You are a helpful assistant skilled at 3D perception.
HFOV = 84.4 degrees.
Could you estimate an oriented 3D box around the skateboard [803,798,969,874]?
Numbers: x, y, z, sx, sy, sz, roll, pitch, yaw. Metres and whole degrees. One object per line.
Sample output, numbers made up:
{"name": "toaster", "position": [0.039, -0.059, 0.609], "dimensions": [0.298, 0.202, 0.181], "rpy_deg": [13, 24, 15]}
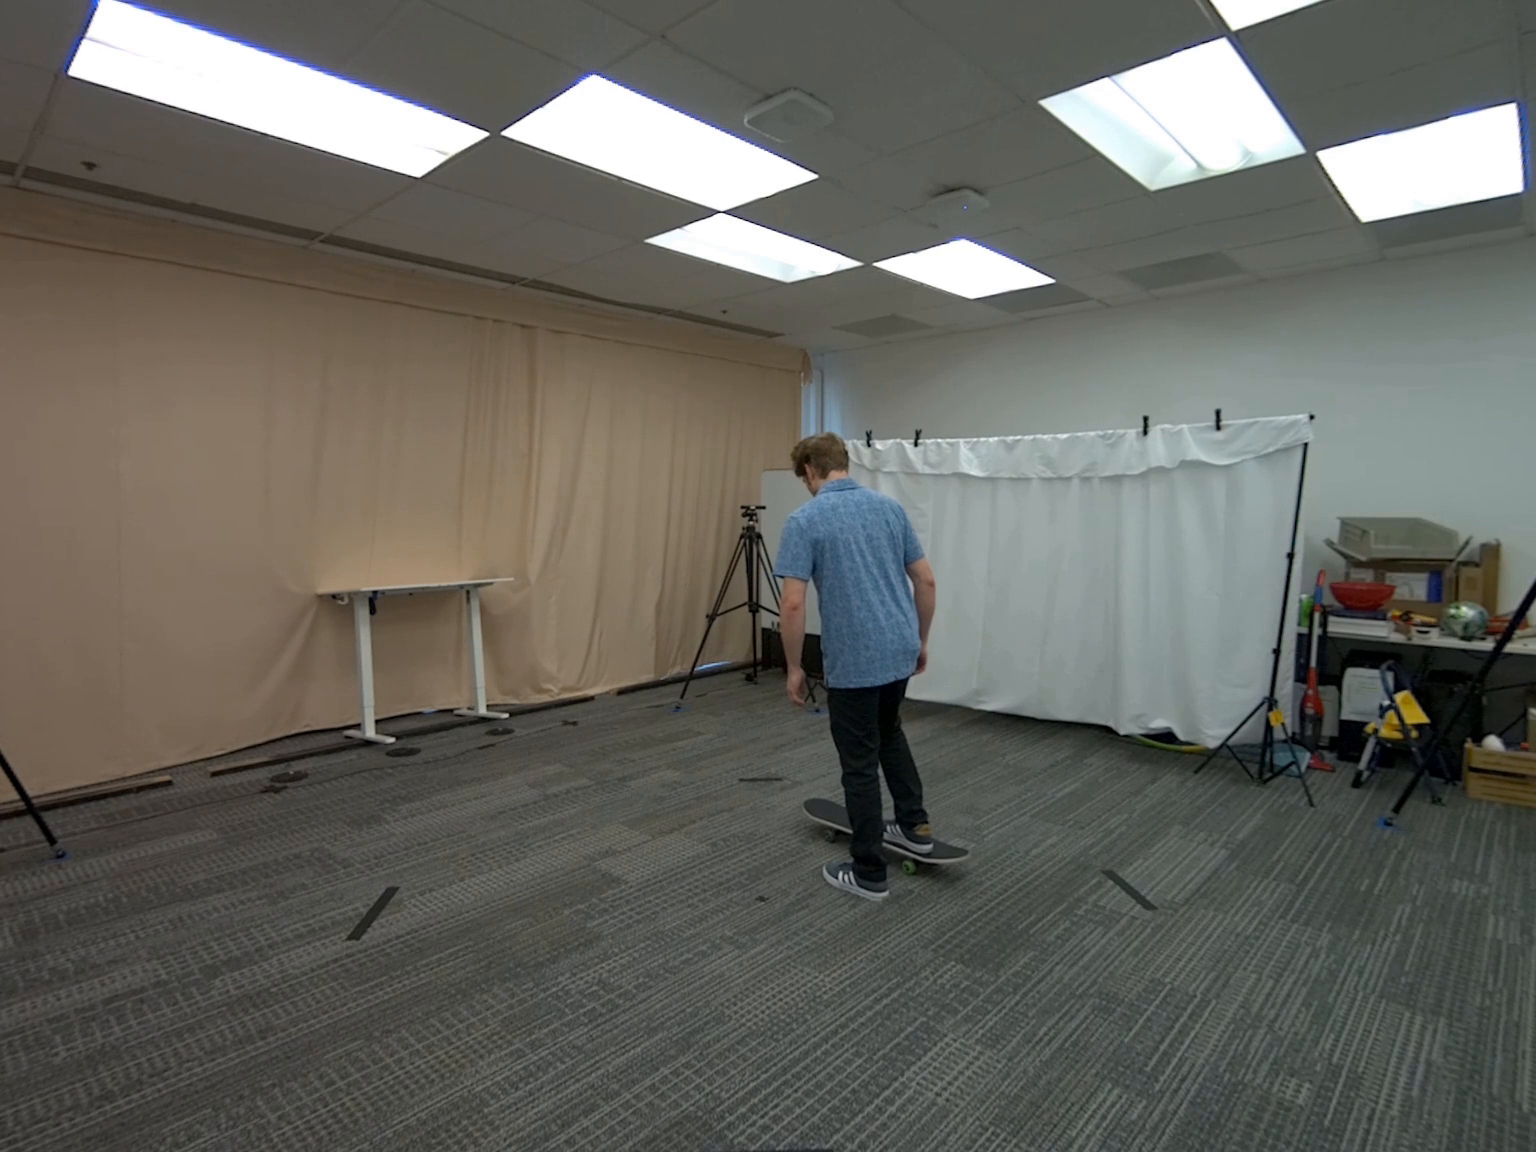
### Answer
{"name": "skateboard", "position": [0.454, 1.053, 3.387], "dimensions": [0.187, 0.110, 0.812], "rpy_deg": [-3, 5, -42]}
